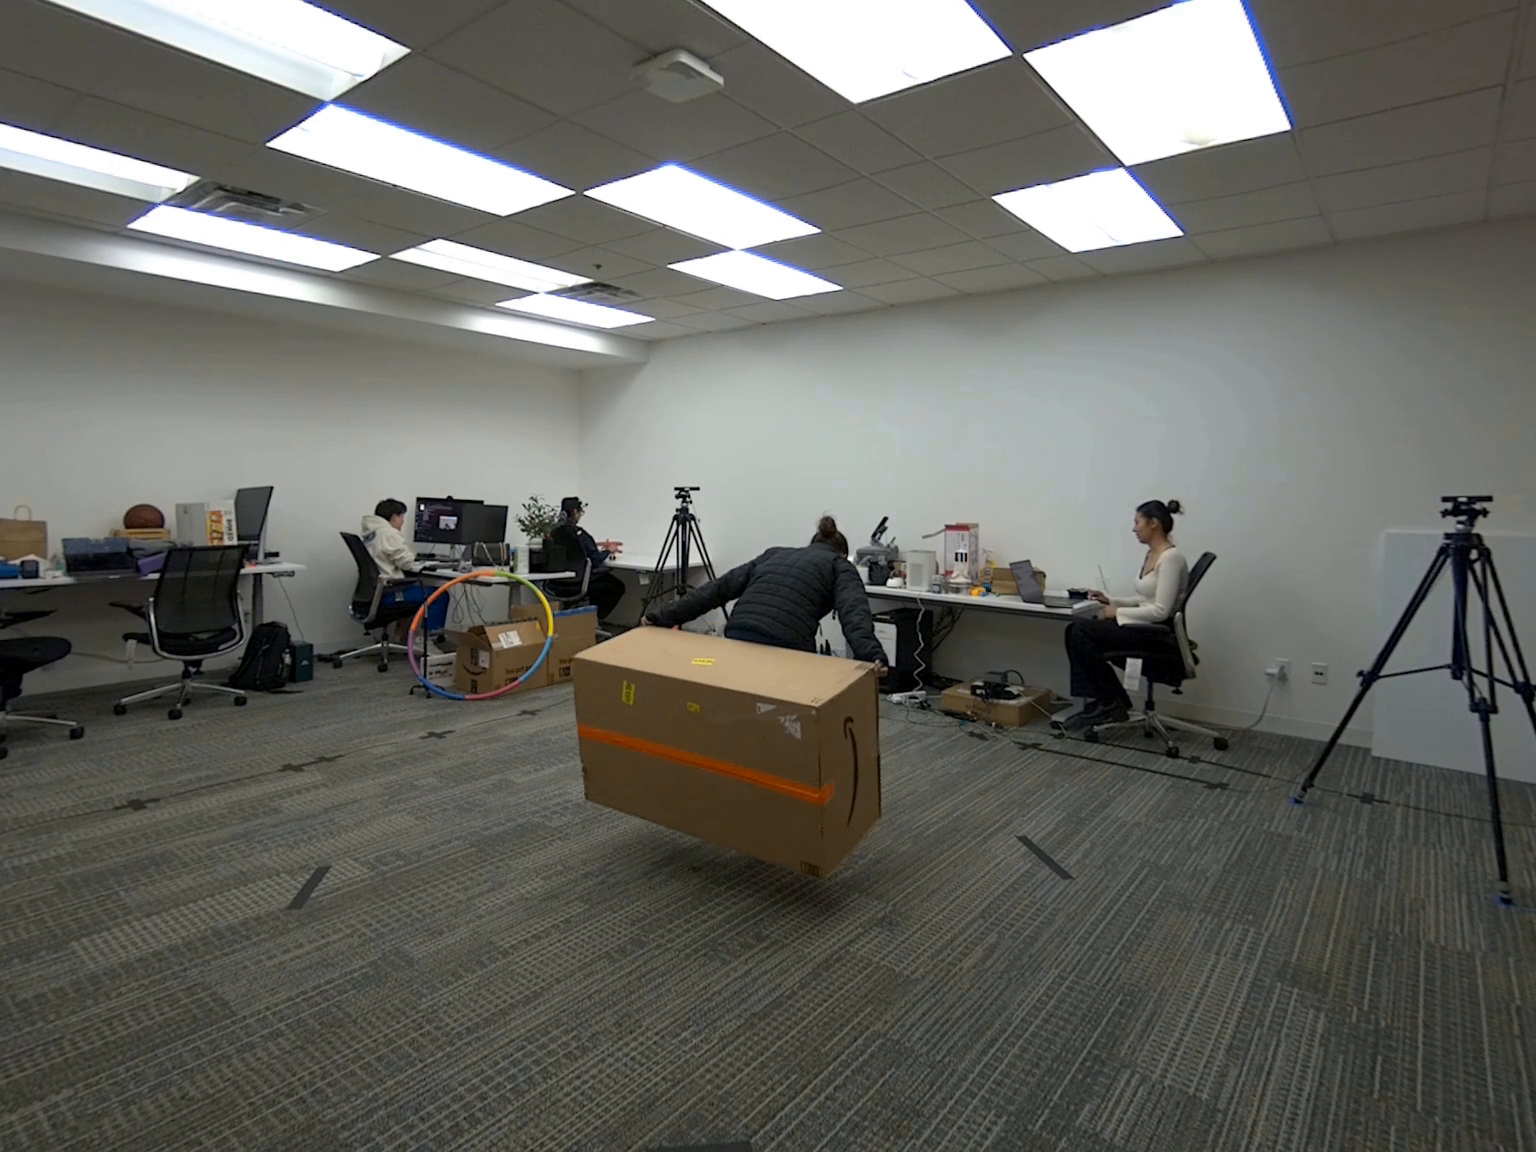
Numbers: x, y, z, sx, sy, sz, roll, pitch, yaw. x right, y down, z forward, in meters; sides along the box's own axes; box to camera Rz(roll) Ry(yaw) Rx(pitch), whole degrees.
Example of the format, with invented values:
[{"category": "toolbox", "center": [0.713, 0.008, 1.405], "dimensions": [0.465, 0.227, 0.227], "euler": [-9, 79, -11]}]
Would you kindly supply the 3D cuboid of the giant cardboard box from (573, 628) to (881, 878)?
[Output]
[{"category": "giant cardboard box", "center": [-0.140, 0.585, 3.041], "dimensions": [1.059, 0.571, 0.417], "euler": [5, 14, 34]}]
